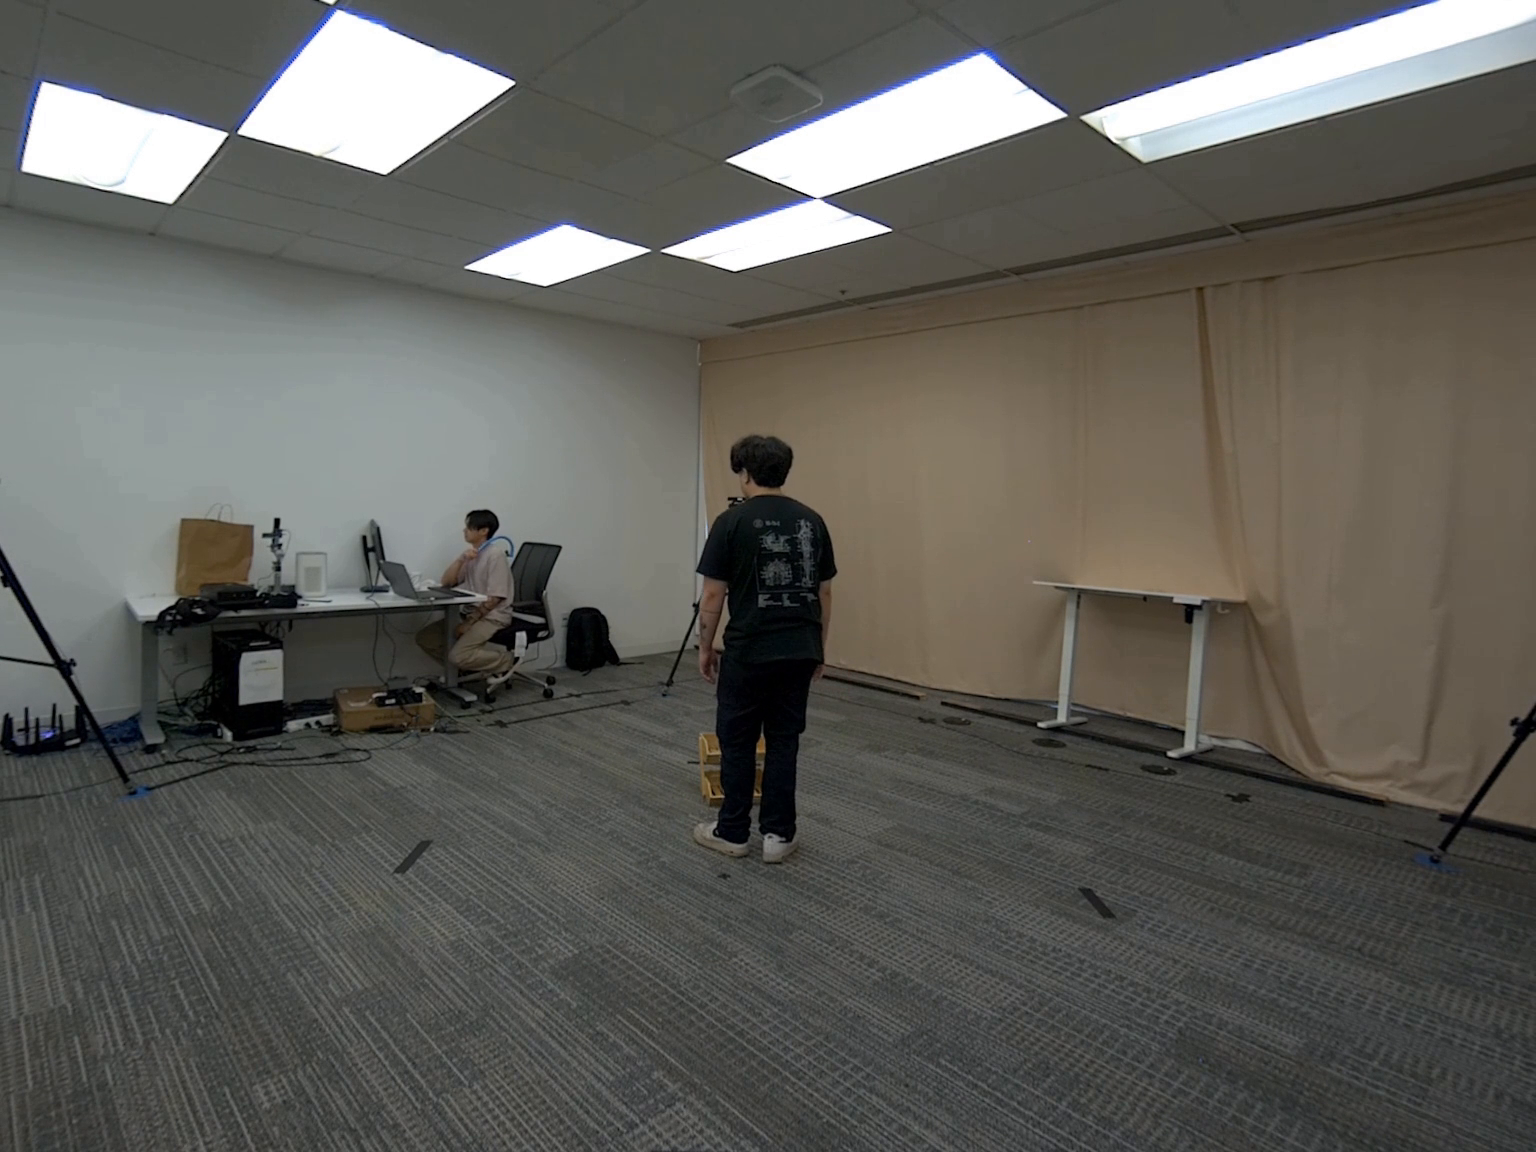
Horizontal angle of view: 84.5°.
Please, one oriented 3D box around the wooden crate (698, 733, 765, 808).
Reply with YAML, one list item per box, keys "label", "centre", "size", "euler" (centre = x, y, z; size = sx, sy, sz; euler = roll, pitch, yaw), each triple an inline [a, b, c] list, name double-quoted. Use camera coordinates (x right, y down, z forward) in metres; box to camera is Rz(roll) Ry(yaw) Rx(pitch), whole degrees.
- label: "wooden crate"
  centre: [-0.164, 0.901, 3.974]
  size: [0.321, 0.273, 0.306]
  euler: [1, 3, -14]
